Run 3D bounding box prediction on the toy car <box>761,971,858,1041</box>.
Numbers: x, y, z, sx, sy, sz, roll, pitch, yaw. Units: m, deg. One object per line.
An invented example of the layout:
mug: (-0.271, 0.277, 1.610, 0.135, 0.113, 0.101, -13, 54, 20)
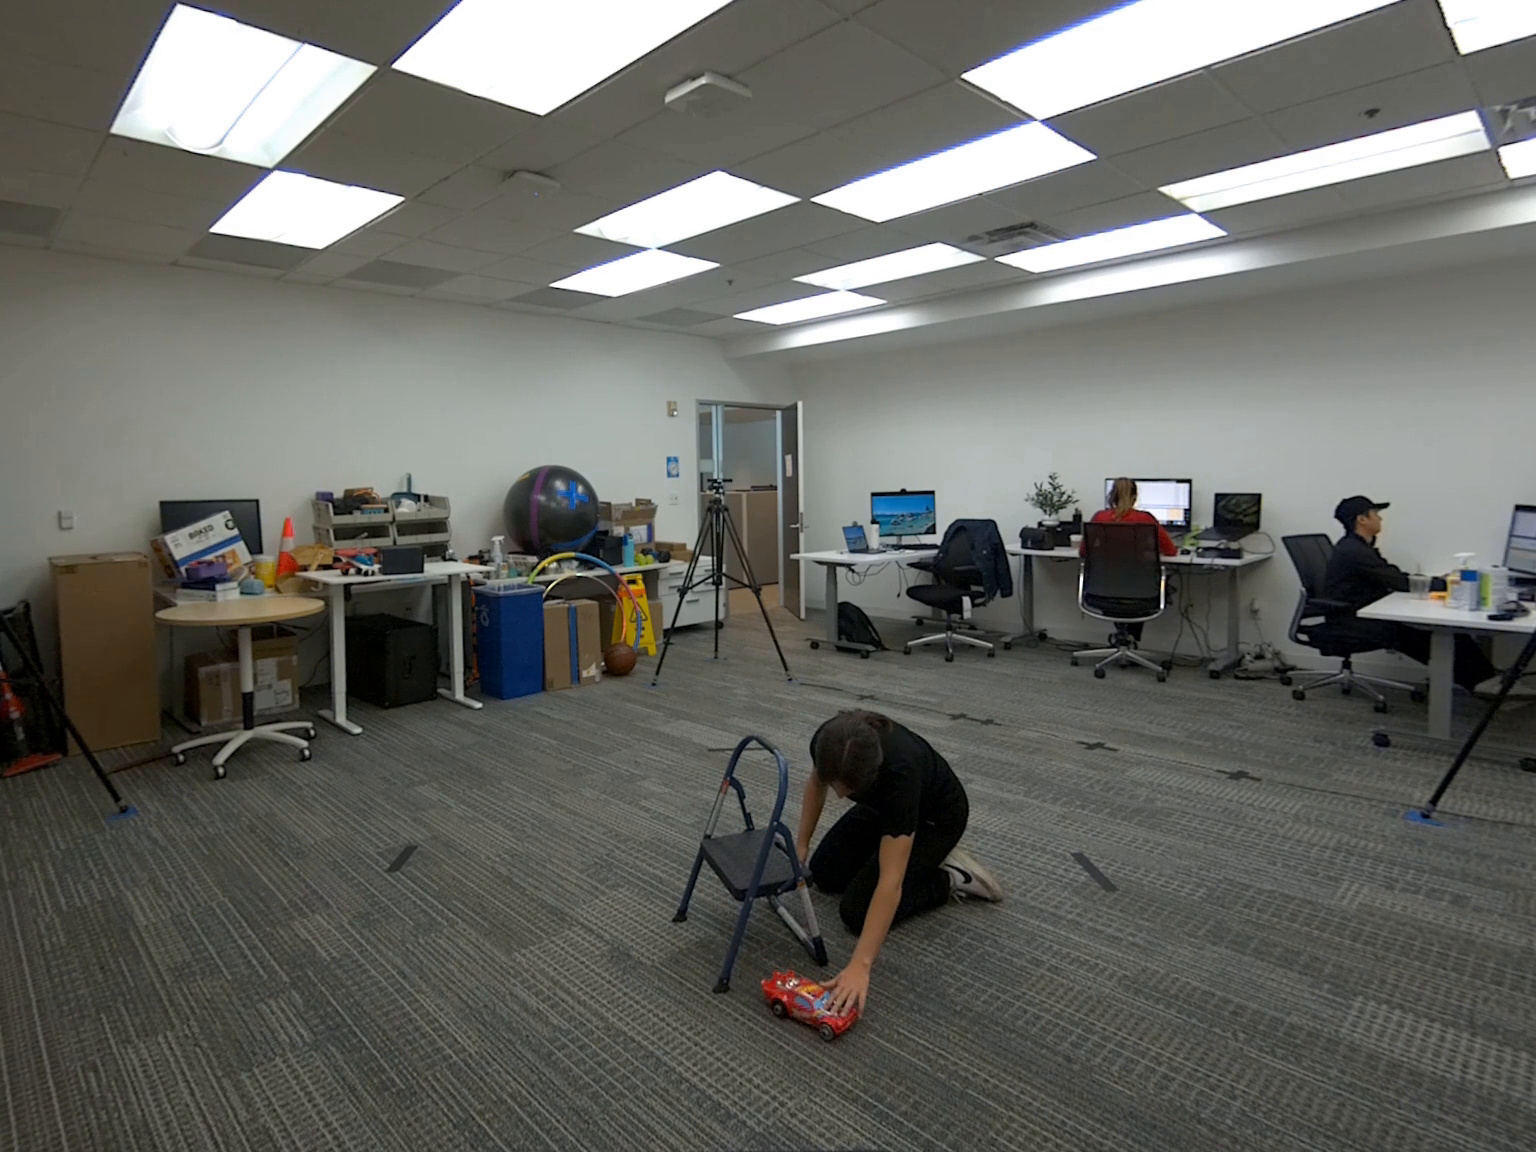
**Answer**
toy car: (0.116, 1.123, 2.217, 0.263, 0.082, 0.127, 16, 17, 32)
